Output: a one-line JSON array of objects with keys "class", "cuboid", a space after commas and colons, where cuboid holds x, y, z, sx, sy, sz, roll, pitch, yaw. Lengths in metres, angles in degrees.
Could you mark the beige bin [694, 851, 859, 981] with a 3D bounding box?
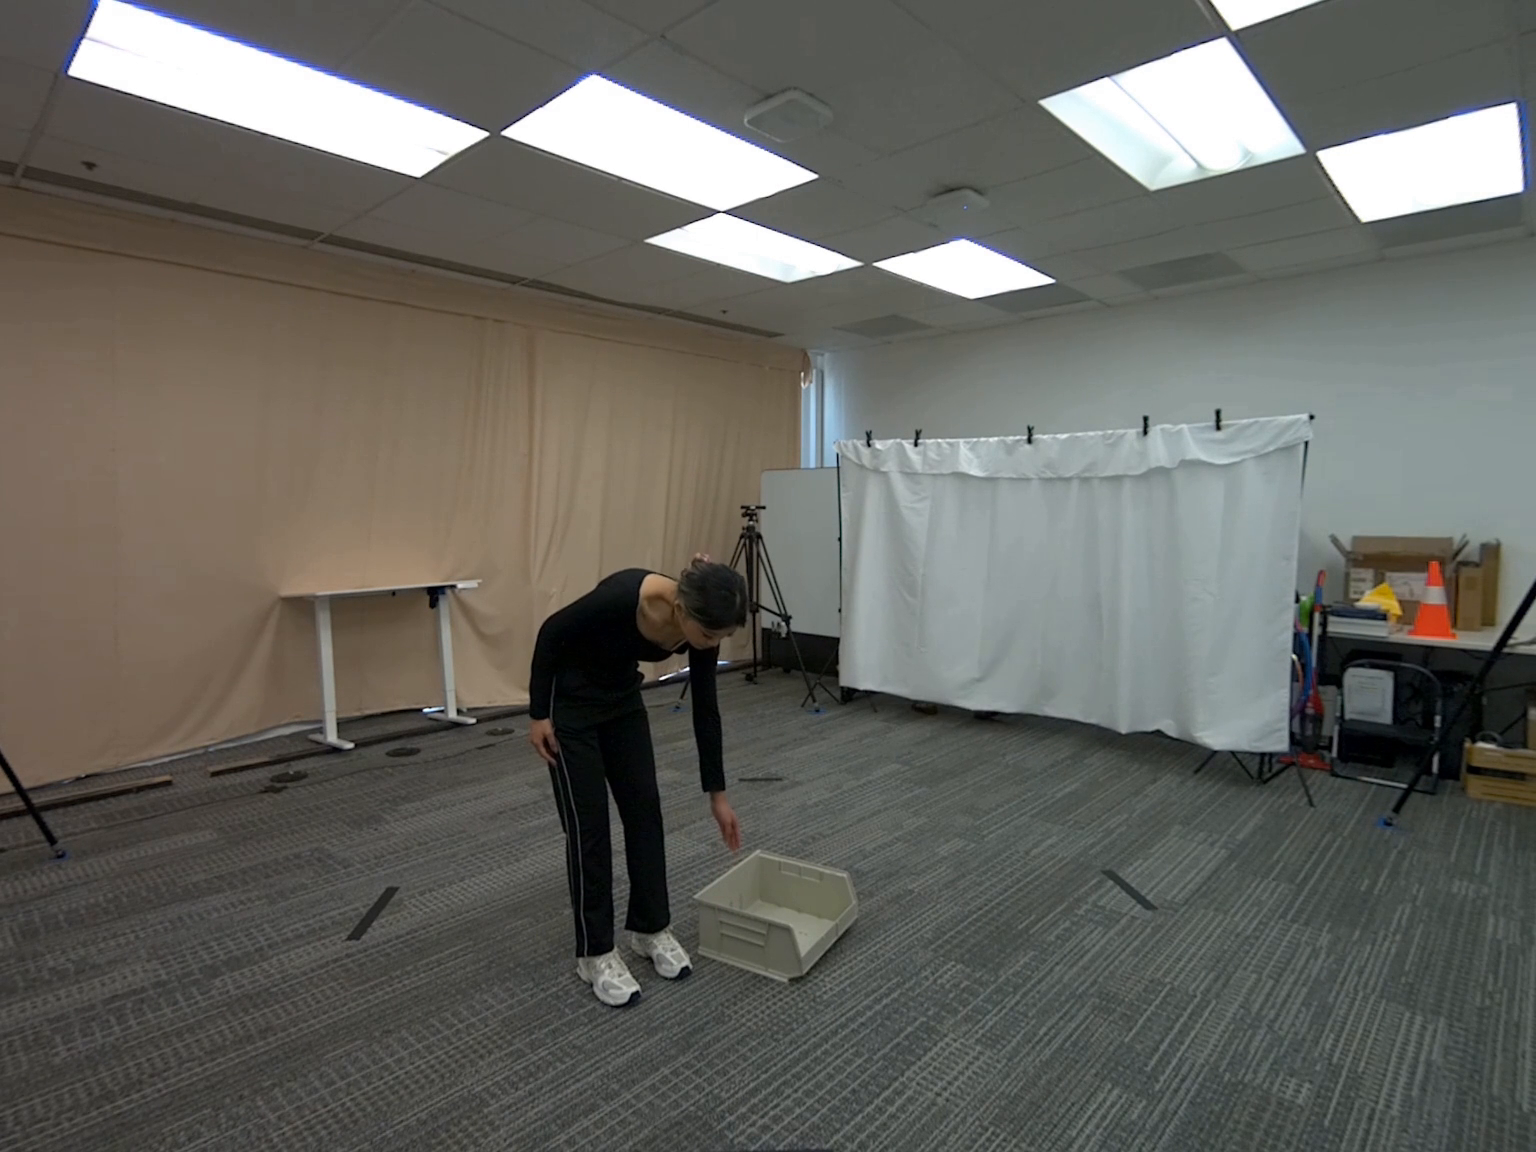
[{"class": "beige bin", "cuboid": [0.034, 1.083, 2.696, 0.388, 0.188, 0.411, 2, 6, 30]}]
